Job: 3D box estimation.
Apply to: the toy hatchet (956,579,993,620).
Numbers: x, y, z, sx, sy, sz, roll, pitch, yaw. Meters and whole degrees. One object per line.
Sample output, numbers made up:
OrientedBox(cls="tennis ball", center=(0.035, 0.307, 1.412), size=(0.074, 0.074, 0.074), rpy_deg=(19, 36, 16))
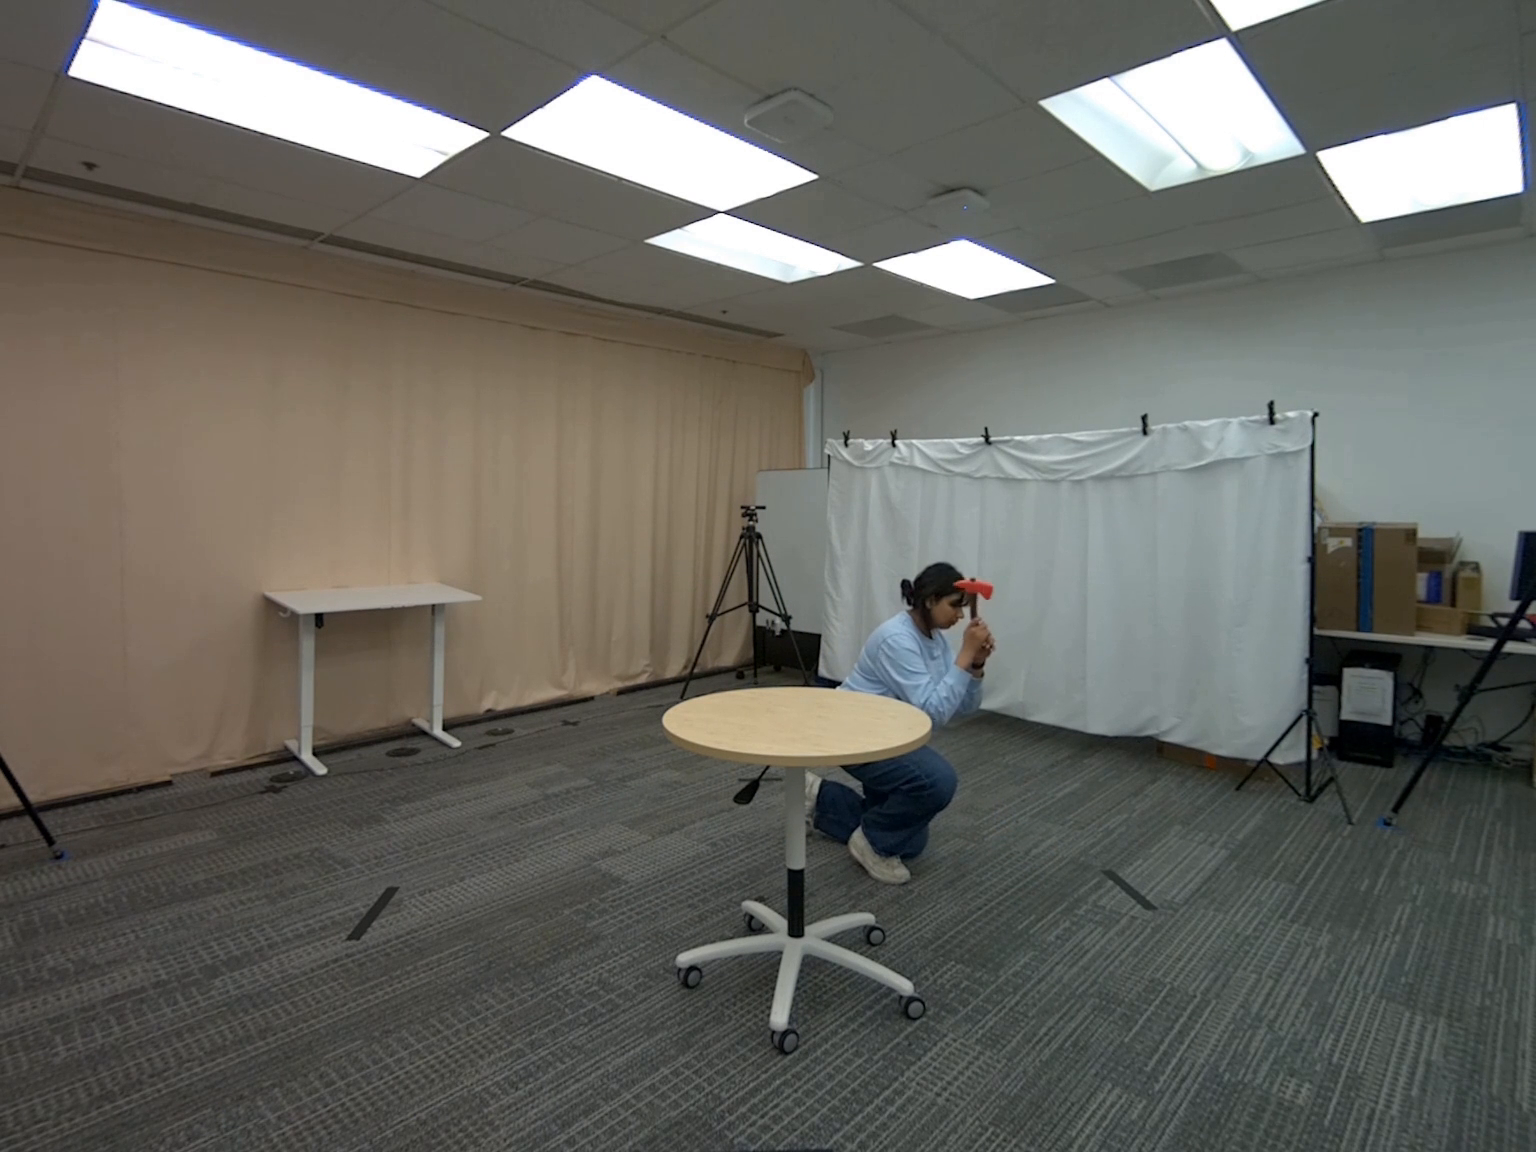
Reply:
OrientedBox(cls="toy hatchet", center=(0.736, 0.134, 2.989), size=(0.134, 0.267, 0.029), rpy_deg=(-14, 14, 33))
